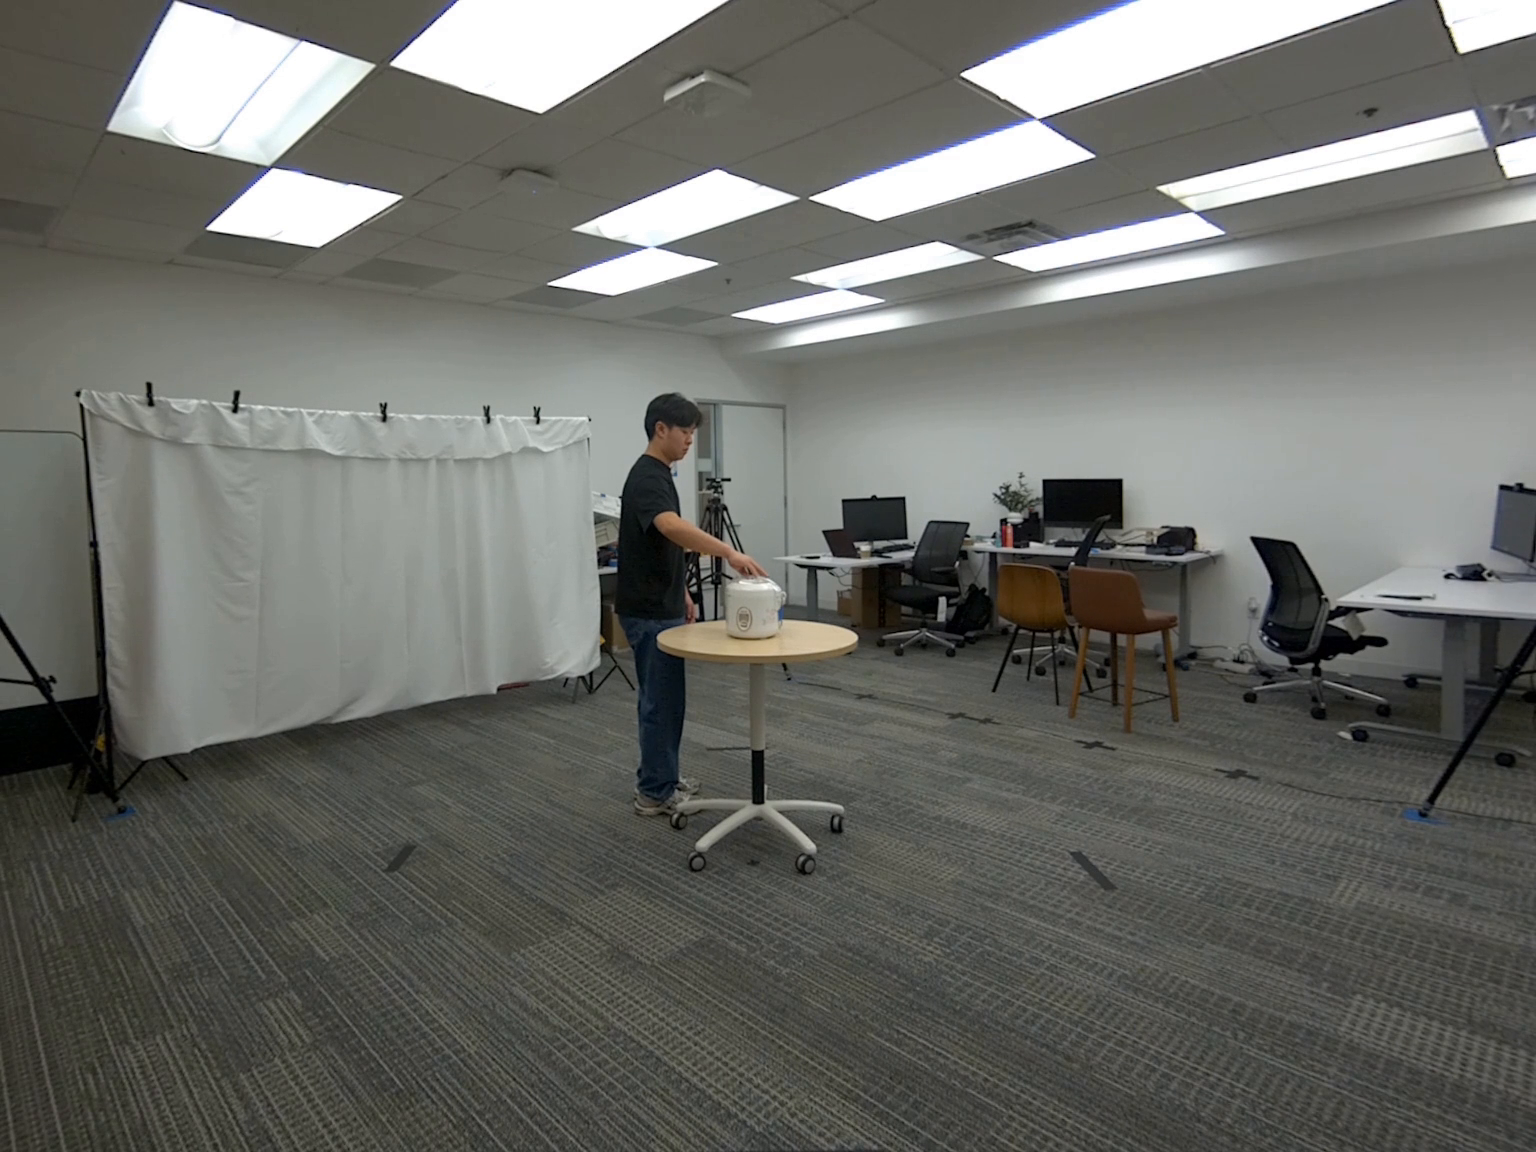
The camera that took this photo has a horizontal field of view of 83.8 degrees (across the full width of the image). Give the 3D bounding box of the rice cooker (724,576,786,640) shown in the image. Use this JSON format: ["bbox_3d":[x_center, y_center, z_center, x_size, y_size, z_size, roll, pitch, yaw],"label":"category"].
[{"bbox_3d":[-0.054,0.112,3.258,0.224,0.232,0.214,0,4,17],"label":"rice cooker"}]
